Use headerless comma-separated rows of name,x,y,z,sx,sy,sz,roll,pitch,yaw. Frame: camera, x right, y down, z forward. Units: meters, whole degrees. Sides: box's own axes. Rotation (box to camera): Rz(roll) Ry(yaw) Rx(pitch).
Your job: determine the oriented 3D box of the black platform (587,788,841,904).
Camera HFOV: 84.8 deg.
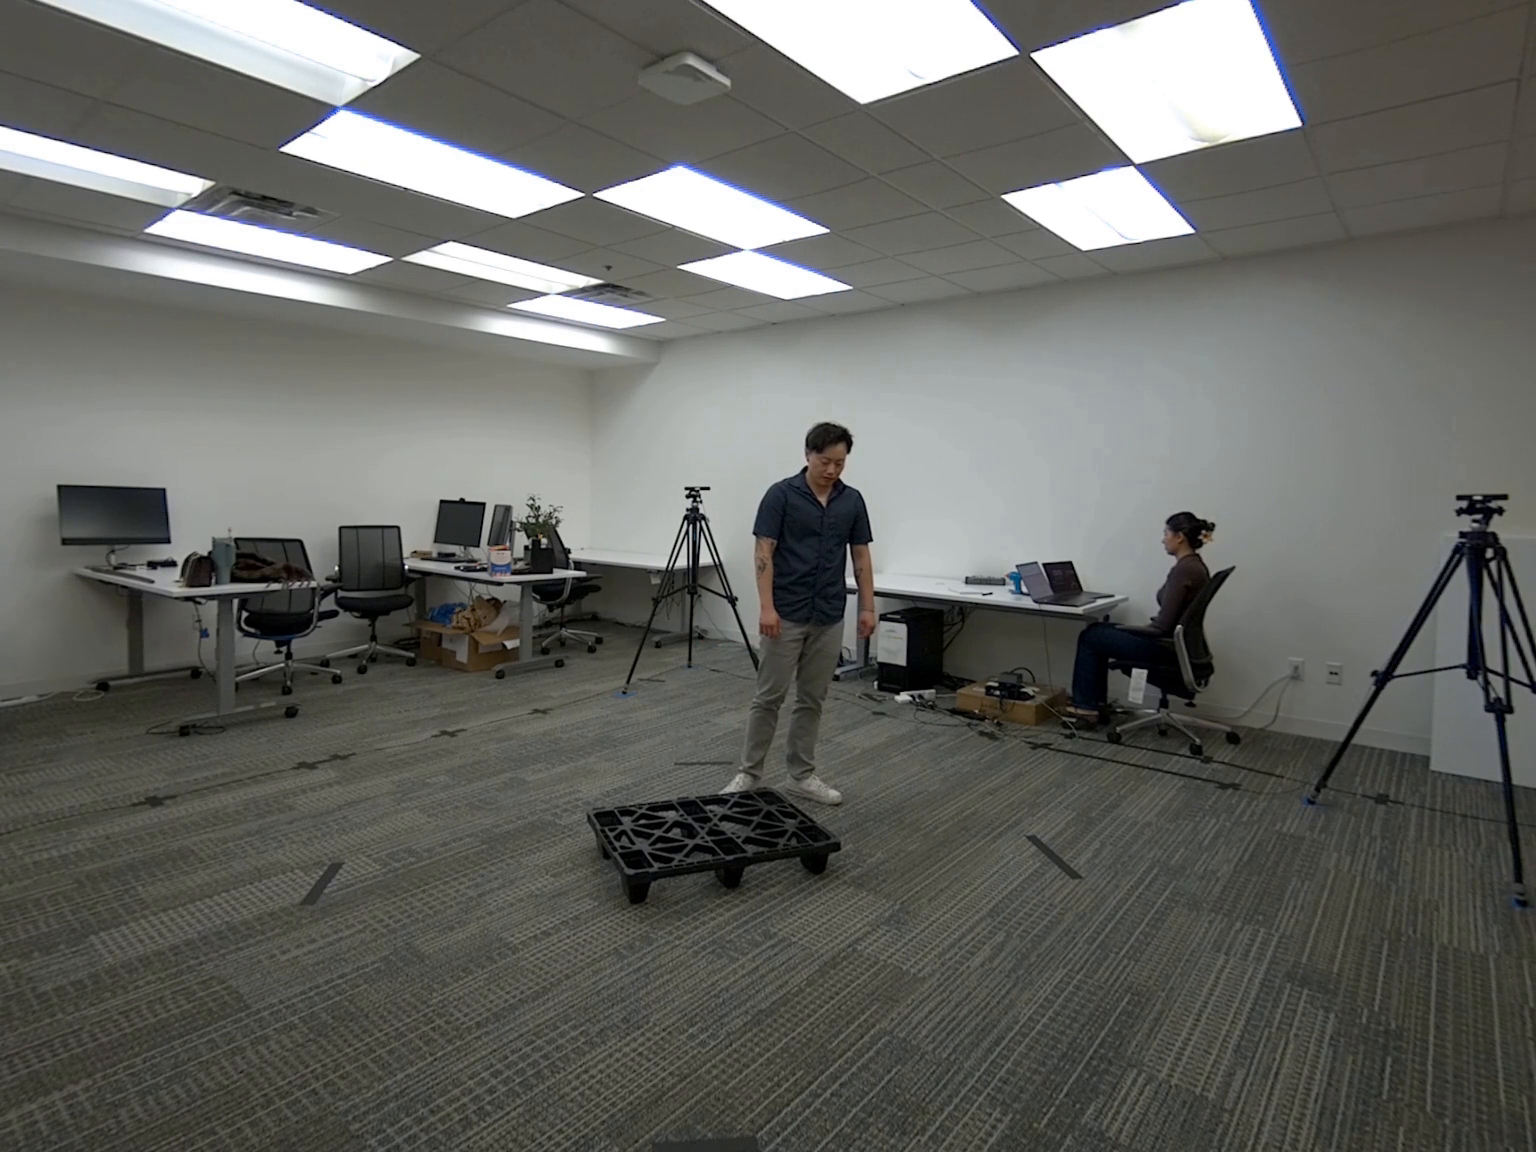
black platform,-0.227,0.989,3.170,0.788,0.143,0.621,-2,7,-23
